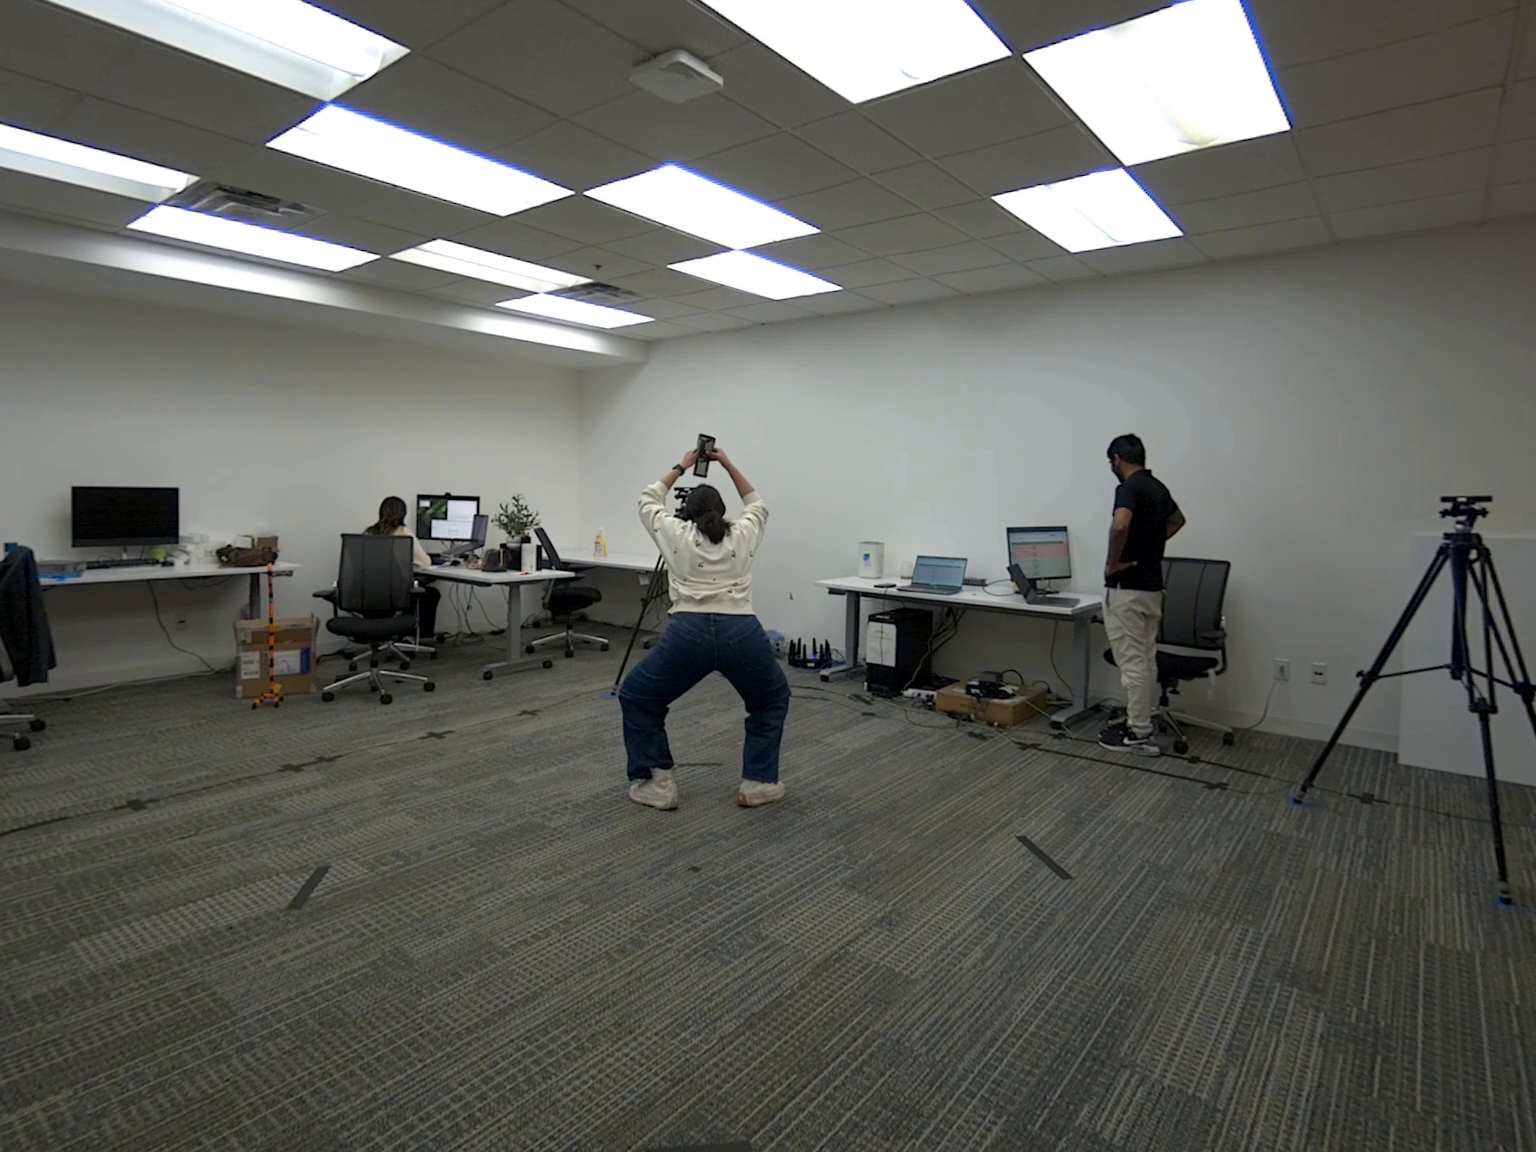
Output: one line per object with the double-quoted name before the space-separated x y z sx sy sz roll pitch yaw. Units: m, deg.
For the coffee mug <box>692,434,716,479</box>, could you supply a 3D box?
"coffee mug" -0.336 -0.588 4.136 0.085 0.202 0.126 8 10 -30
